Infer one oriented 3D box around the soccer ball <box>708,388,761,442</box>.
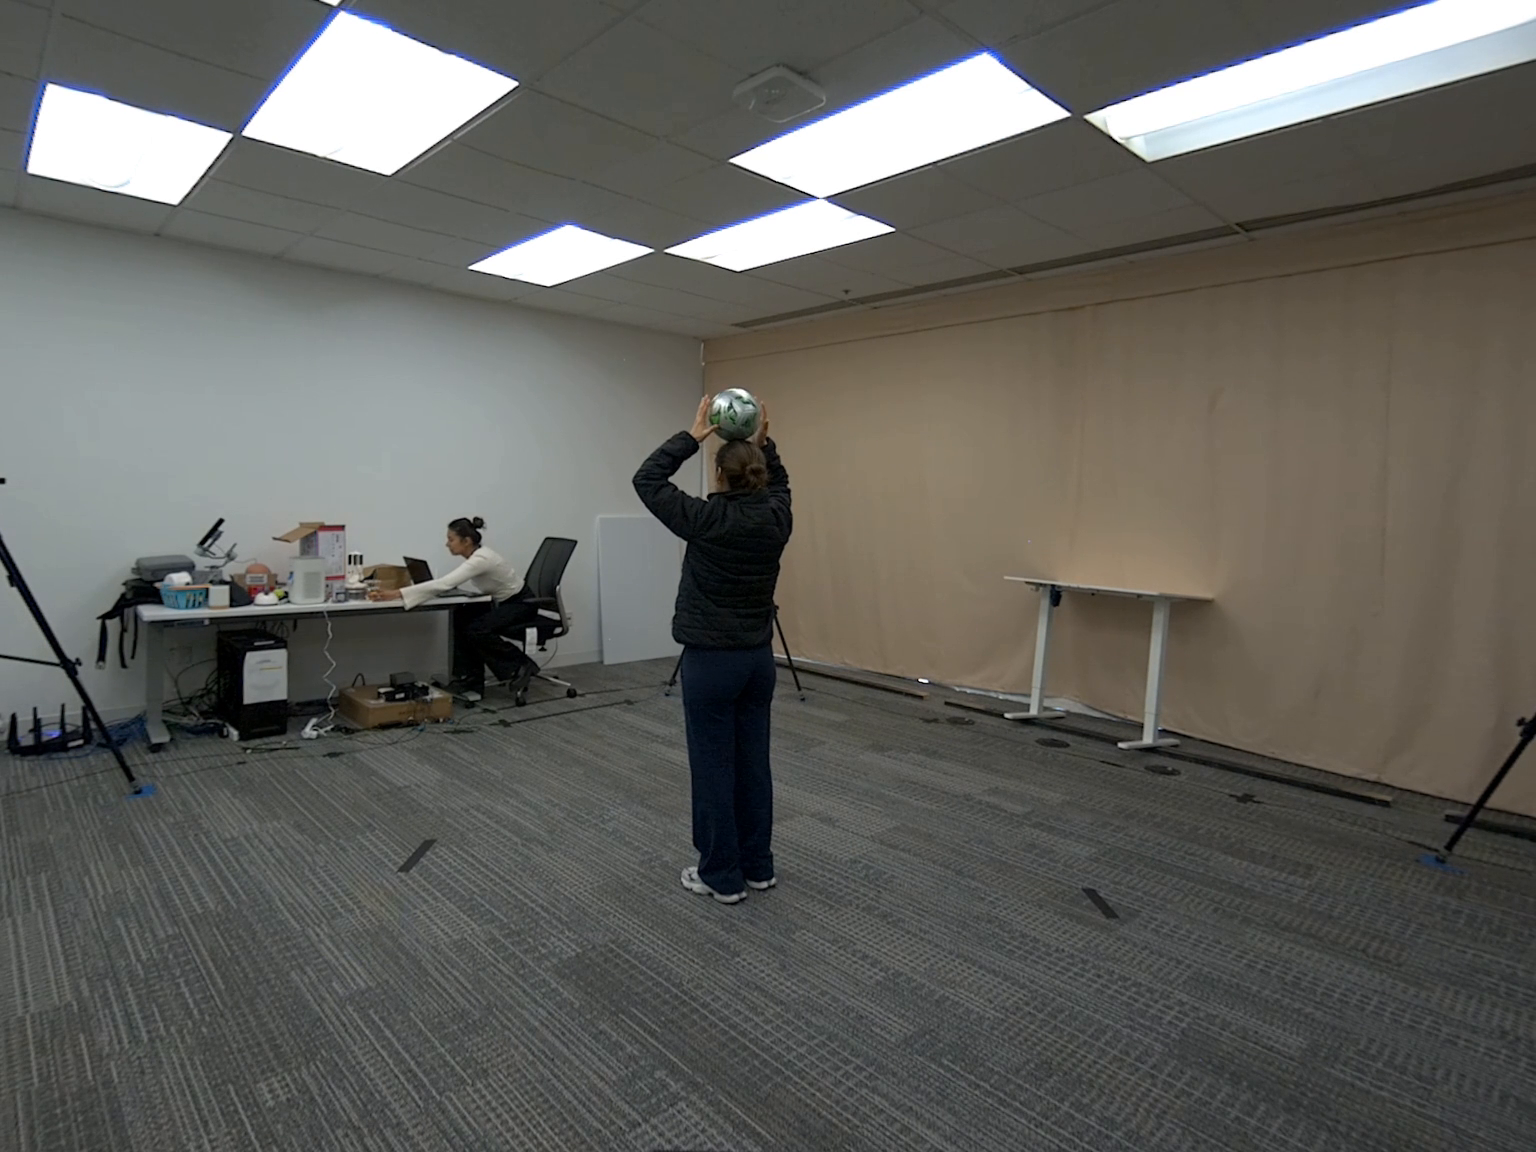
[{"bbox_3d":[-0.125,-0.562,2.964,0.187,0.187,0.188,1,4,-1],"label":"soccer ball"}]
